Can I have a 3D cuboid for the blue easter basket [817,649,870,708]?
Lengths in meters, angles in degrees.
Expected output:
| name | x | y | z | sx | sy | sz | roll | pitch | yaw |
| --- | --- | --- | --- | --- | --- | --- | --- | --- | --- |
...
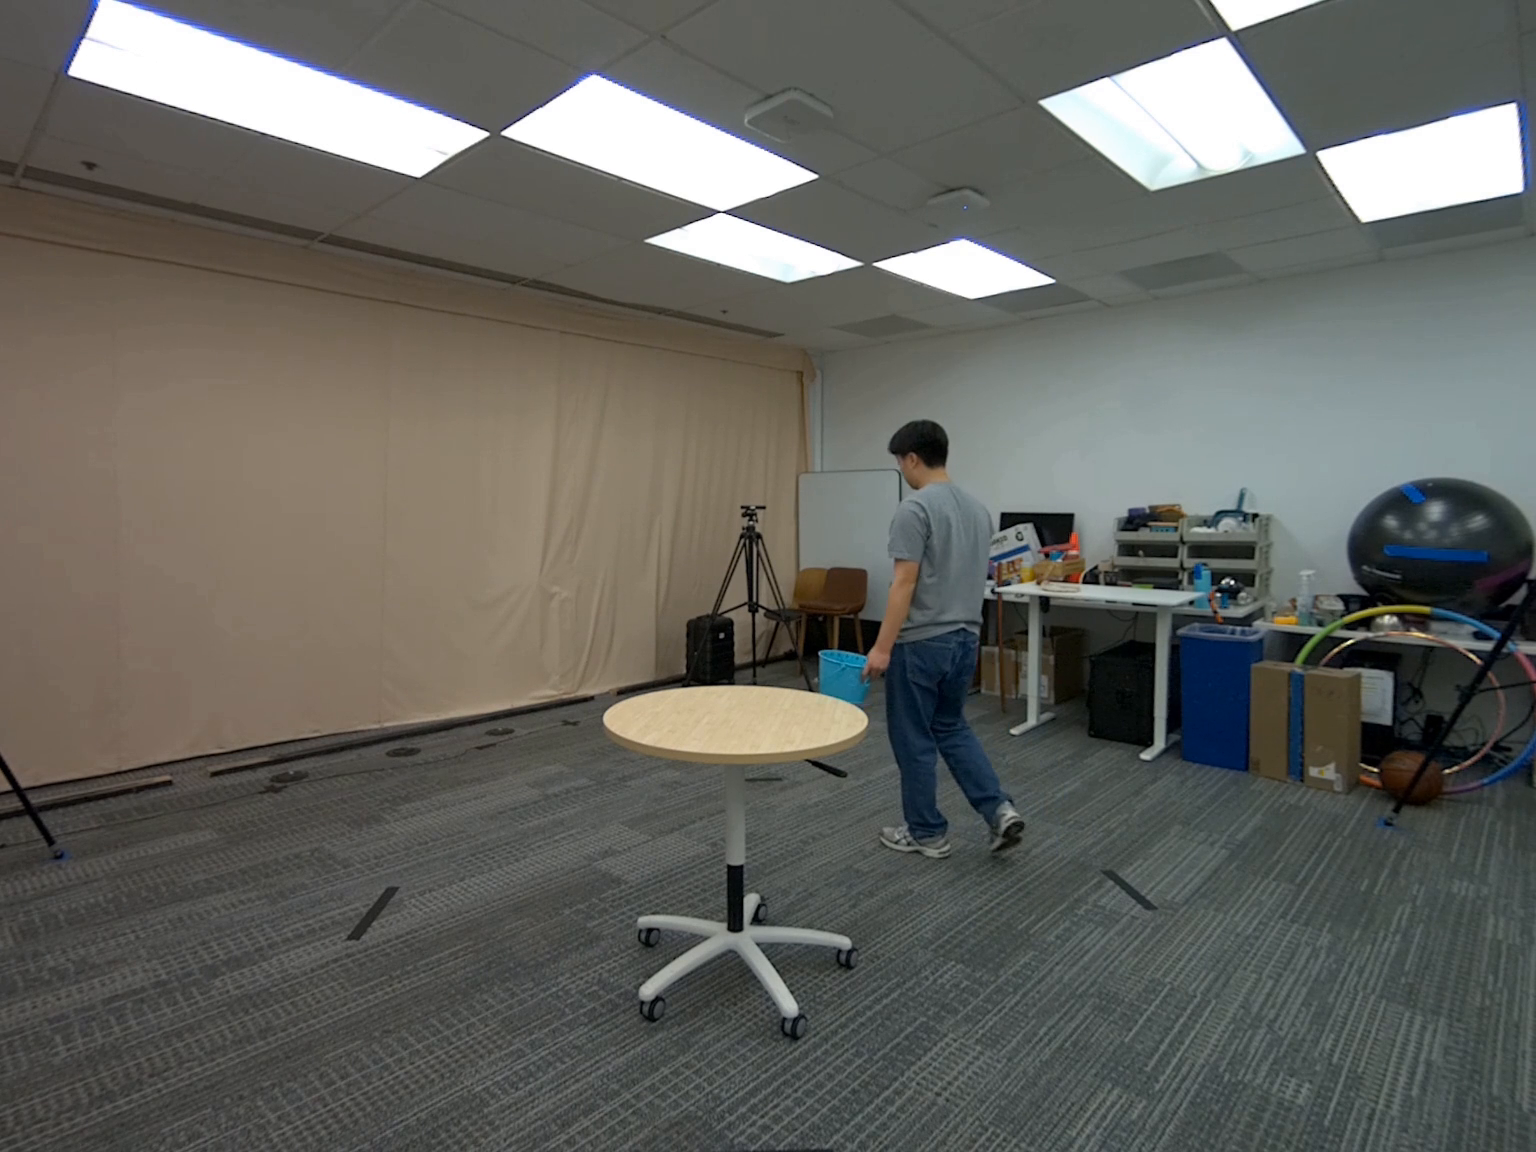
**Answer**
| name | x | y | z | sx | sy | sz | roll | pitch | yaw |
| --- | --- | --- | --- | --- | --- | --- | --- | --- | --- |
| blue easter basket | 0.311 | 0.395 | 3.297 | 0.243 | 0.155 | 0.245 | 9 | 6 | -3 |
